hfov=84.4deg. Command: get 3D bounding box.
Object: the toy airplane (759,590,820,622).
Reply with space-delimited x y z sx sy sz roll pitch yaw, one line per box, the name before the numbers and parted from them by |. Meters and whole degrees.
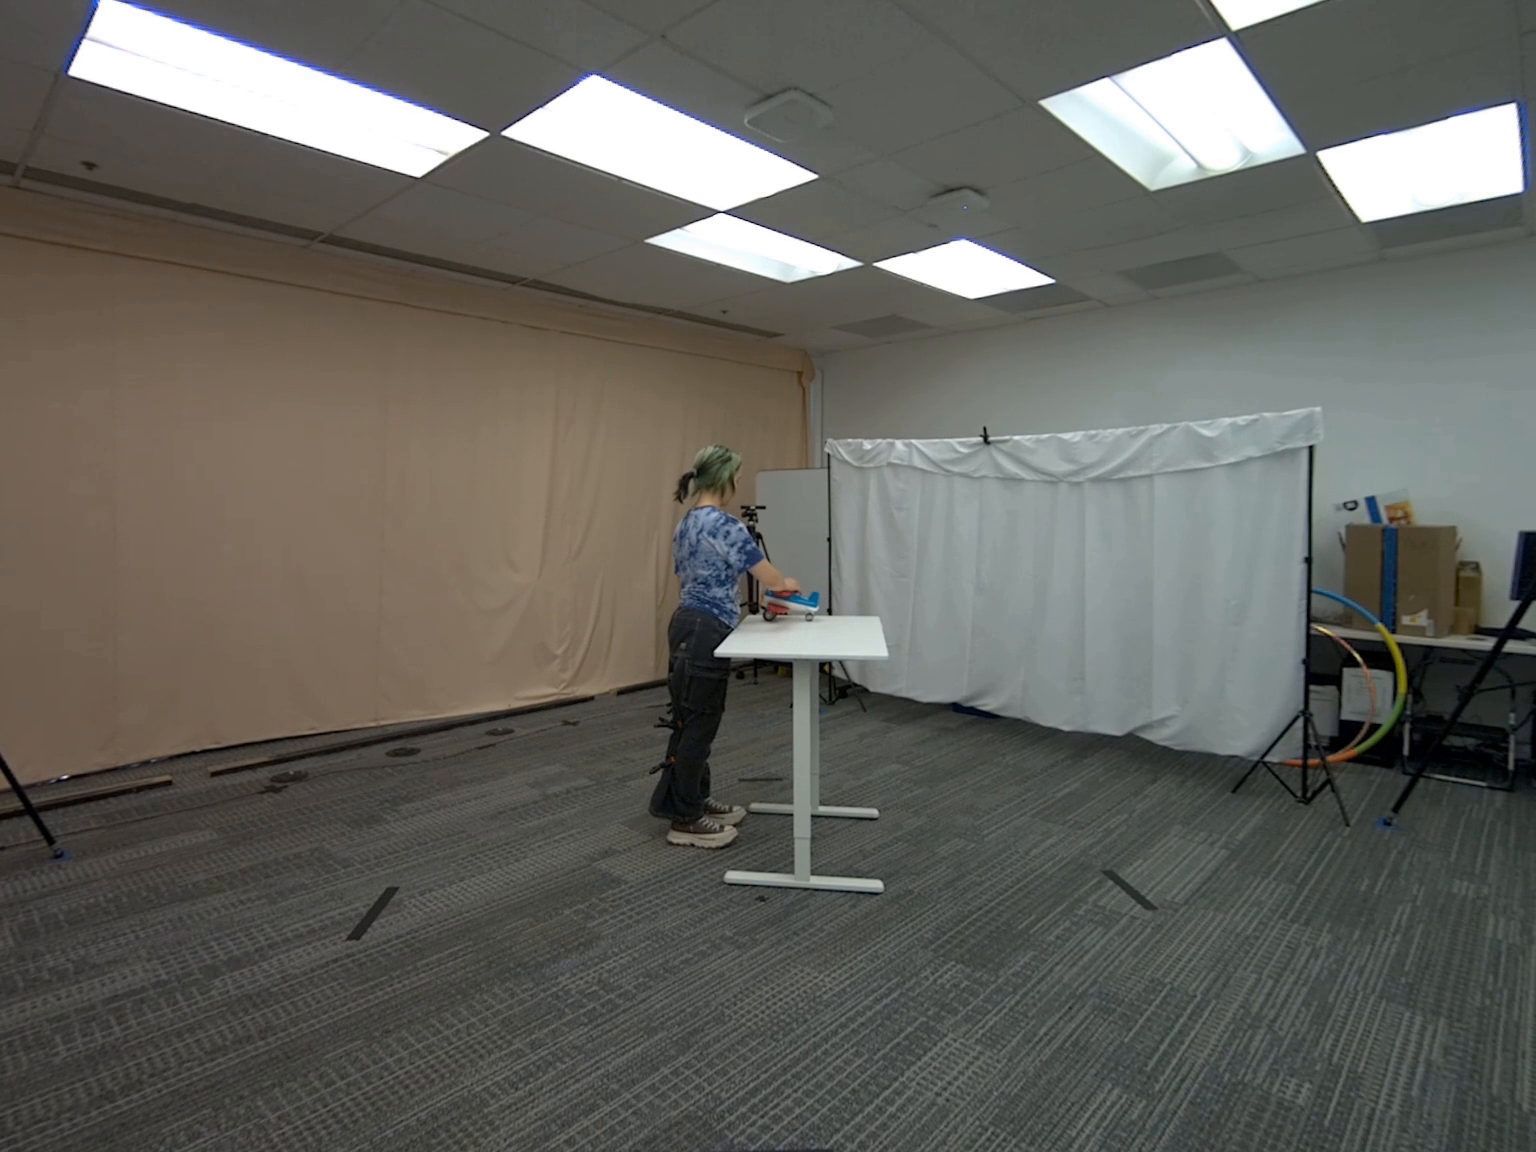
toy airplane | 0.086 0.118 3.767 0.254 0.156 0.257 -3 7 -21
